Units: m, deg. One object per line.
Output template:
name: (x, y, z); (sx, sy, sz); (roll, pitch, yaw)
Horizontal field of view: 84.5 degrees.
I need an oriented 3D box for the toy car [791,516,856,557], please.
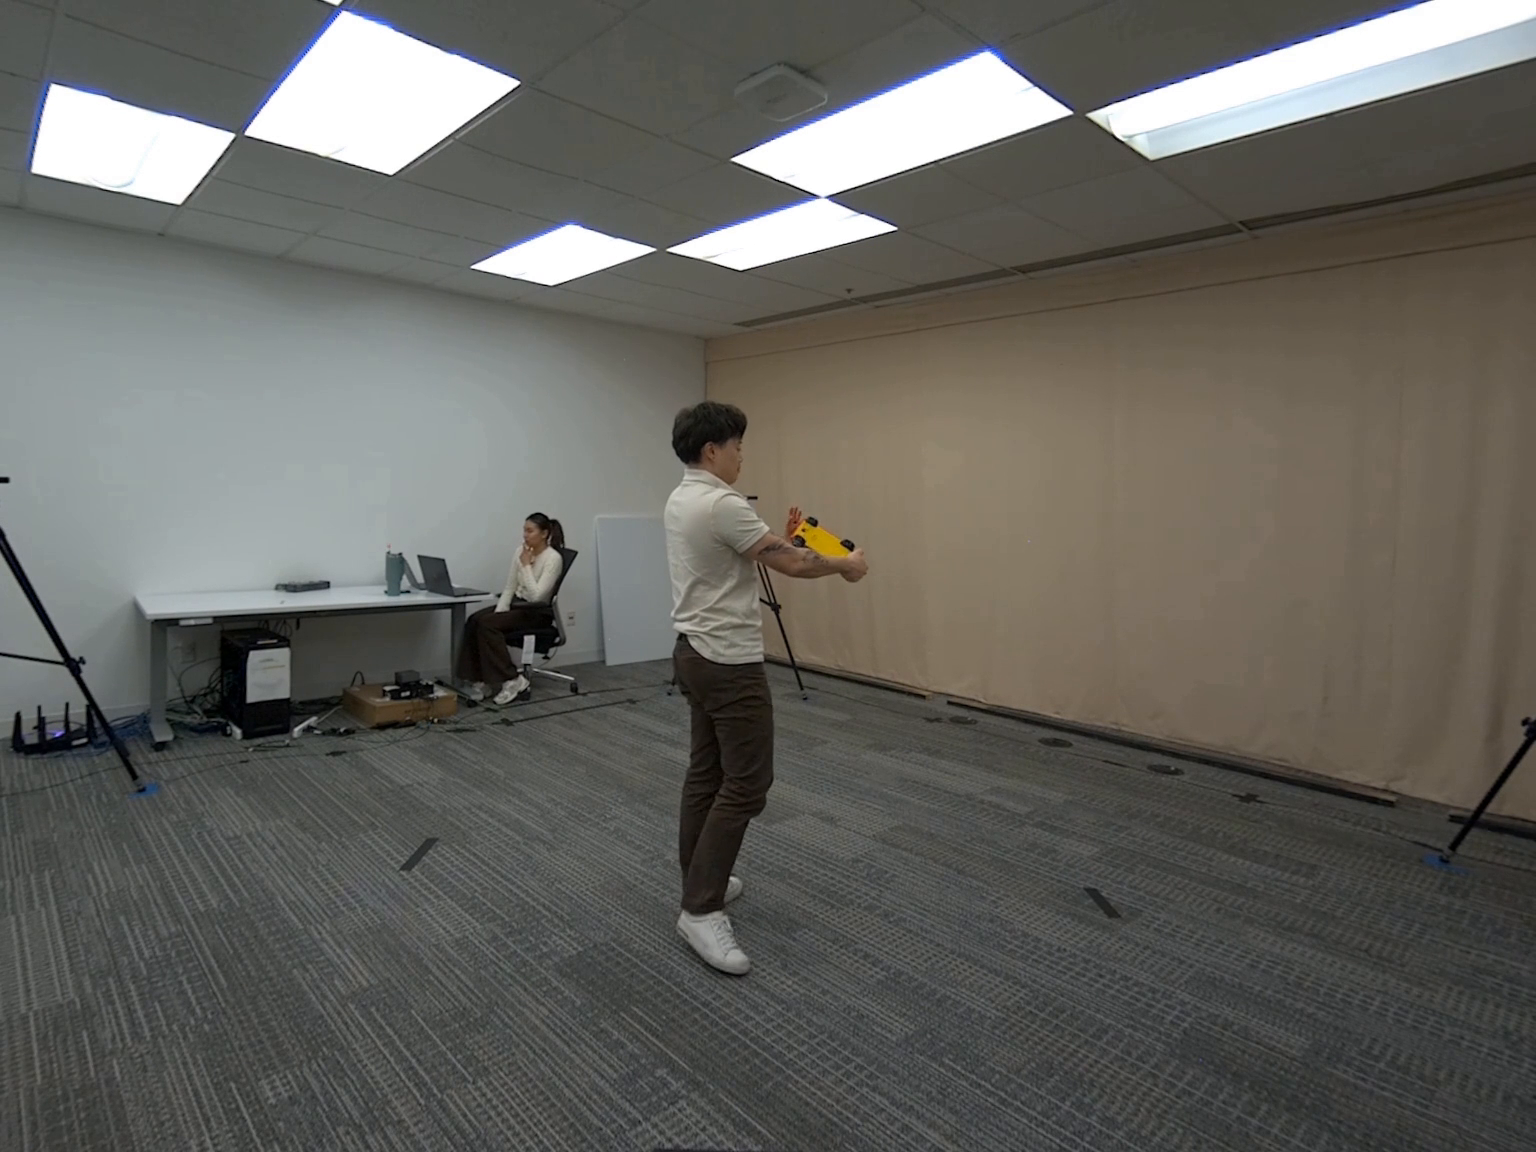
toy car: (0.188, -0.094, 2.846); (0.255, 0.130, 0.083); (37, -23, 0)
